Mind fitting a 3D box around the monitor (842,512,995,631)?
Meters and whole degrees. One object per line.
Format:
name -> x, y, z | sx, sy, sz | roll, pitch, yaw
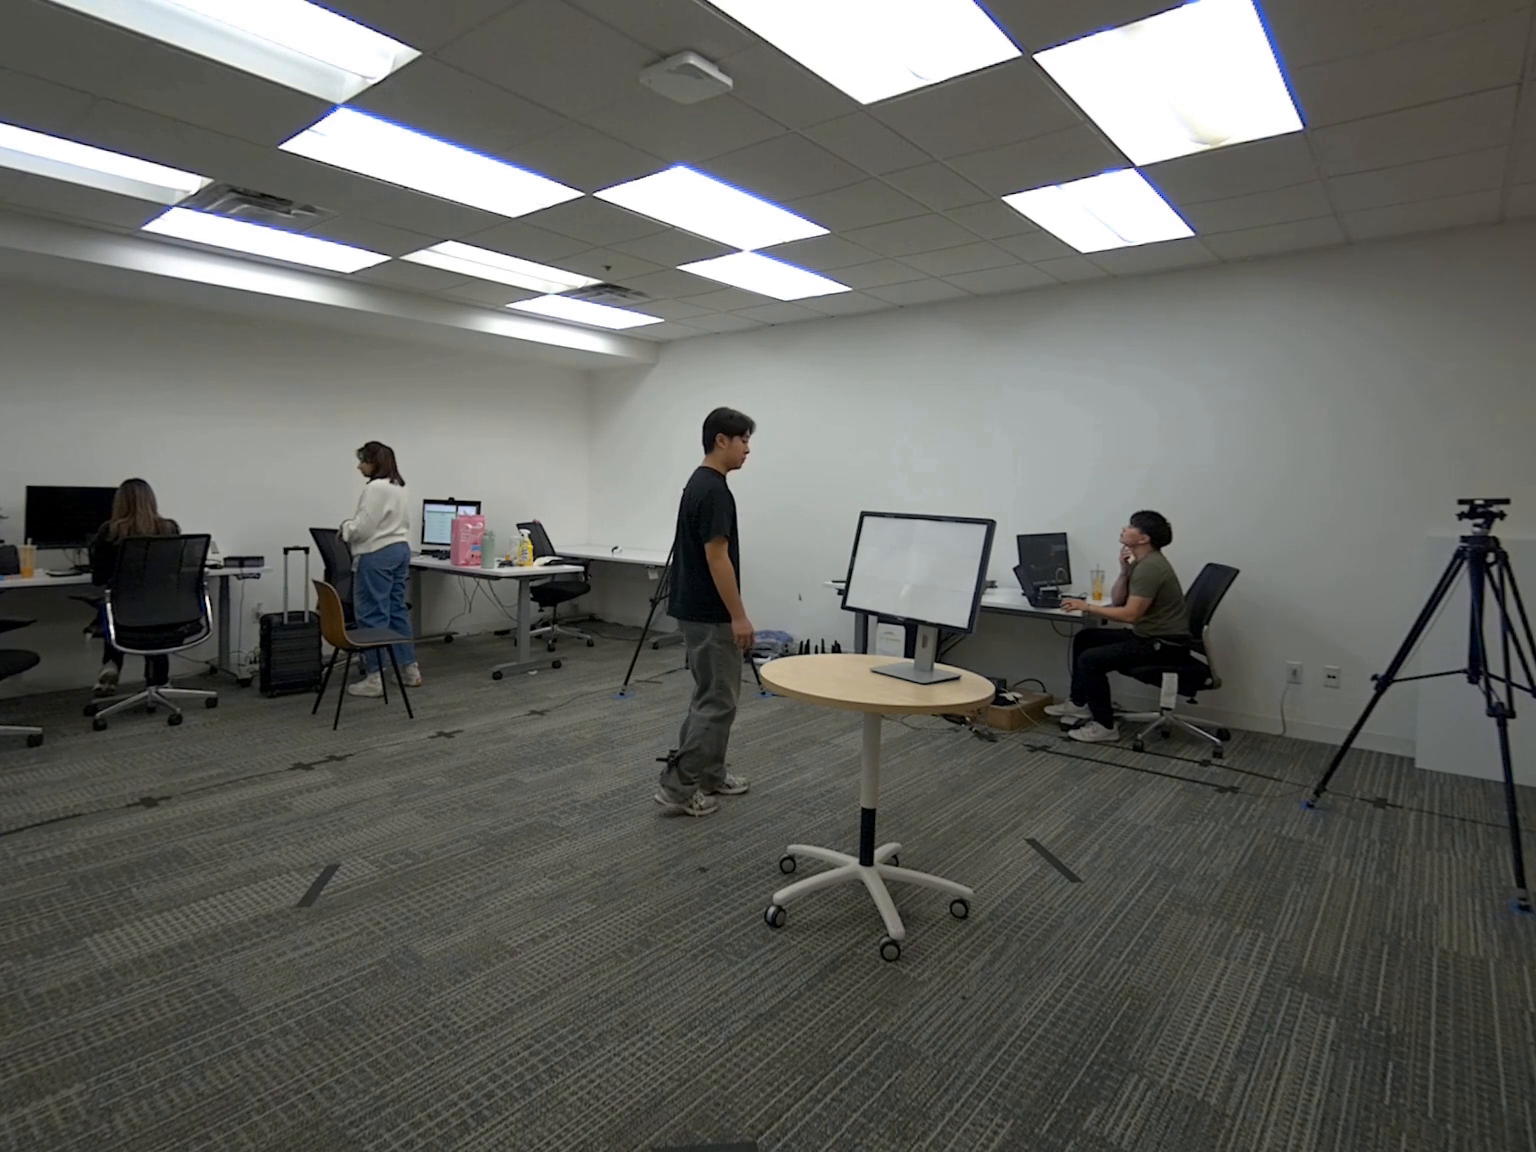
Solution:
monitor -> 0.500, 0.073, 2.867 | 0.216, 0.563, 0.581 | -3, 6, -36
